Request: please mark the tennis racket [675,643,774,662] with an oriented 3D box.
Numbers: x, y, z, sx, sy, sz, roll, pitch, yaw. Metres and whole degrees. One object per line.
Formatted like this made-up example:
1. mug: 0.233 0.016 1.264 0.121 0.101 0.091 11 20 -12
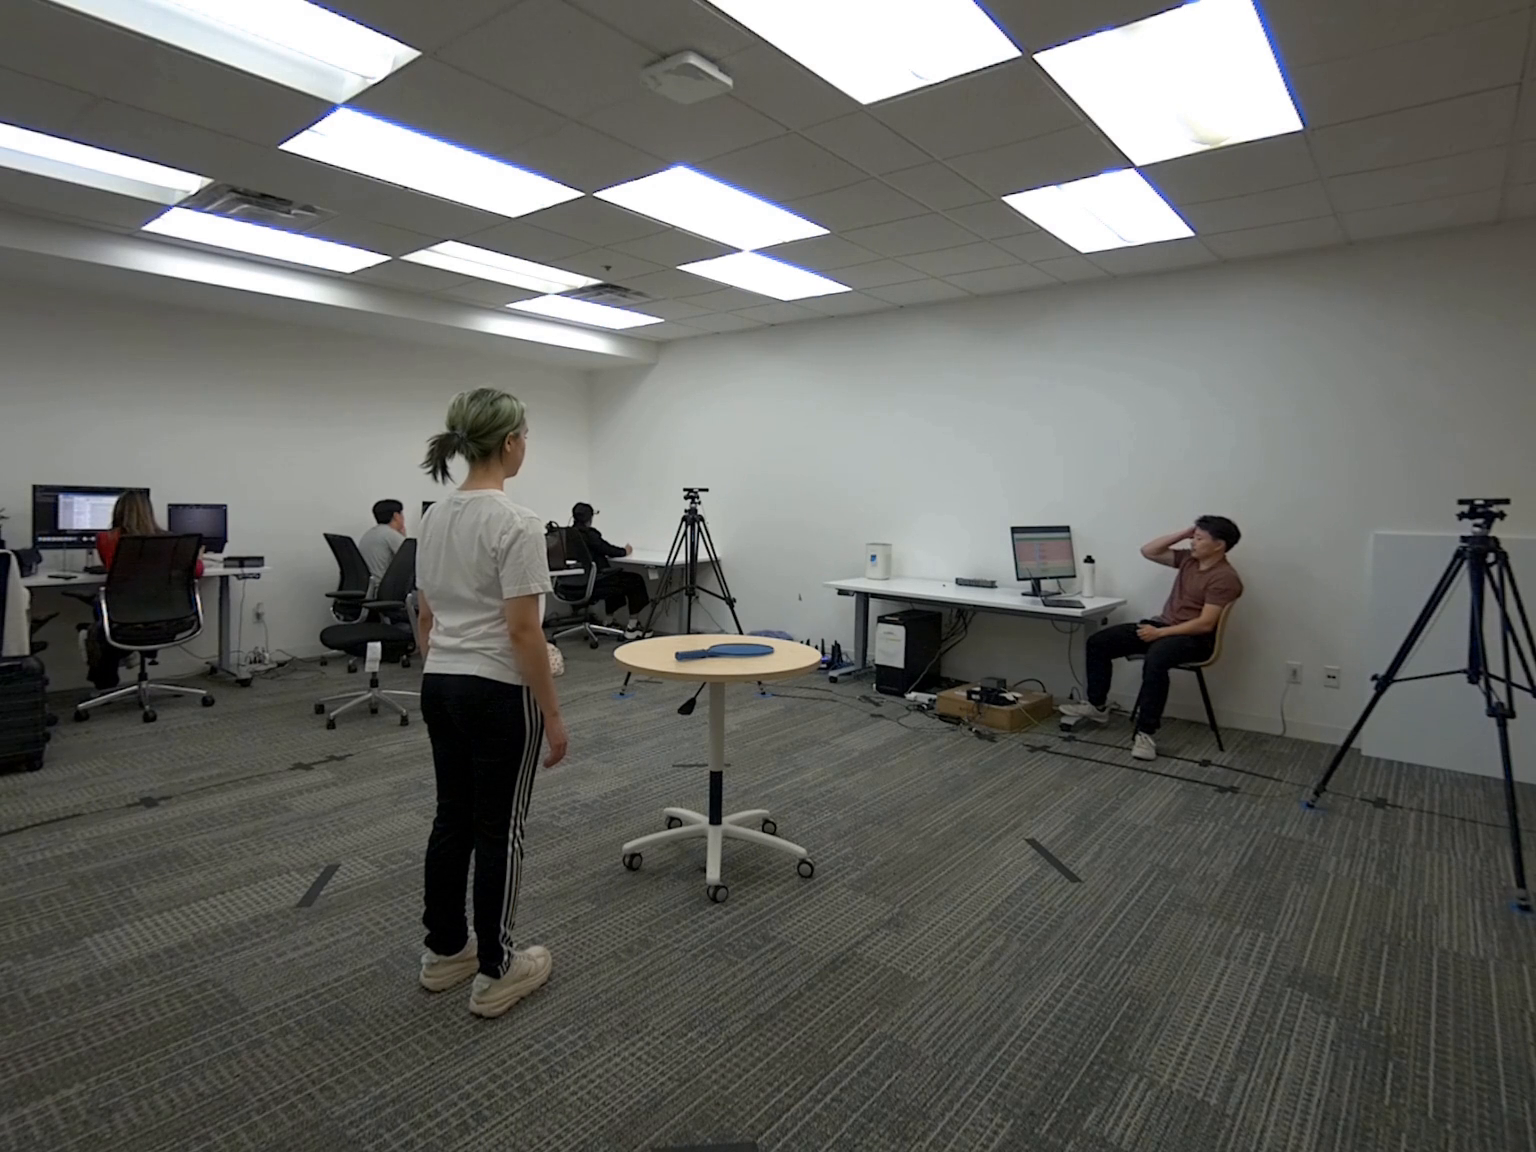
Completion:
1. tennis racket: -0.168 0.277 3.114 0.420 0.032 0.221 -2 5 -38
